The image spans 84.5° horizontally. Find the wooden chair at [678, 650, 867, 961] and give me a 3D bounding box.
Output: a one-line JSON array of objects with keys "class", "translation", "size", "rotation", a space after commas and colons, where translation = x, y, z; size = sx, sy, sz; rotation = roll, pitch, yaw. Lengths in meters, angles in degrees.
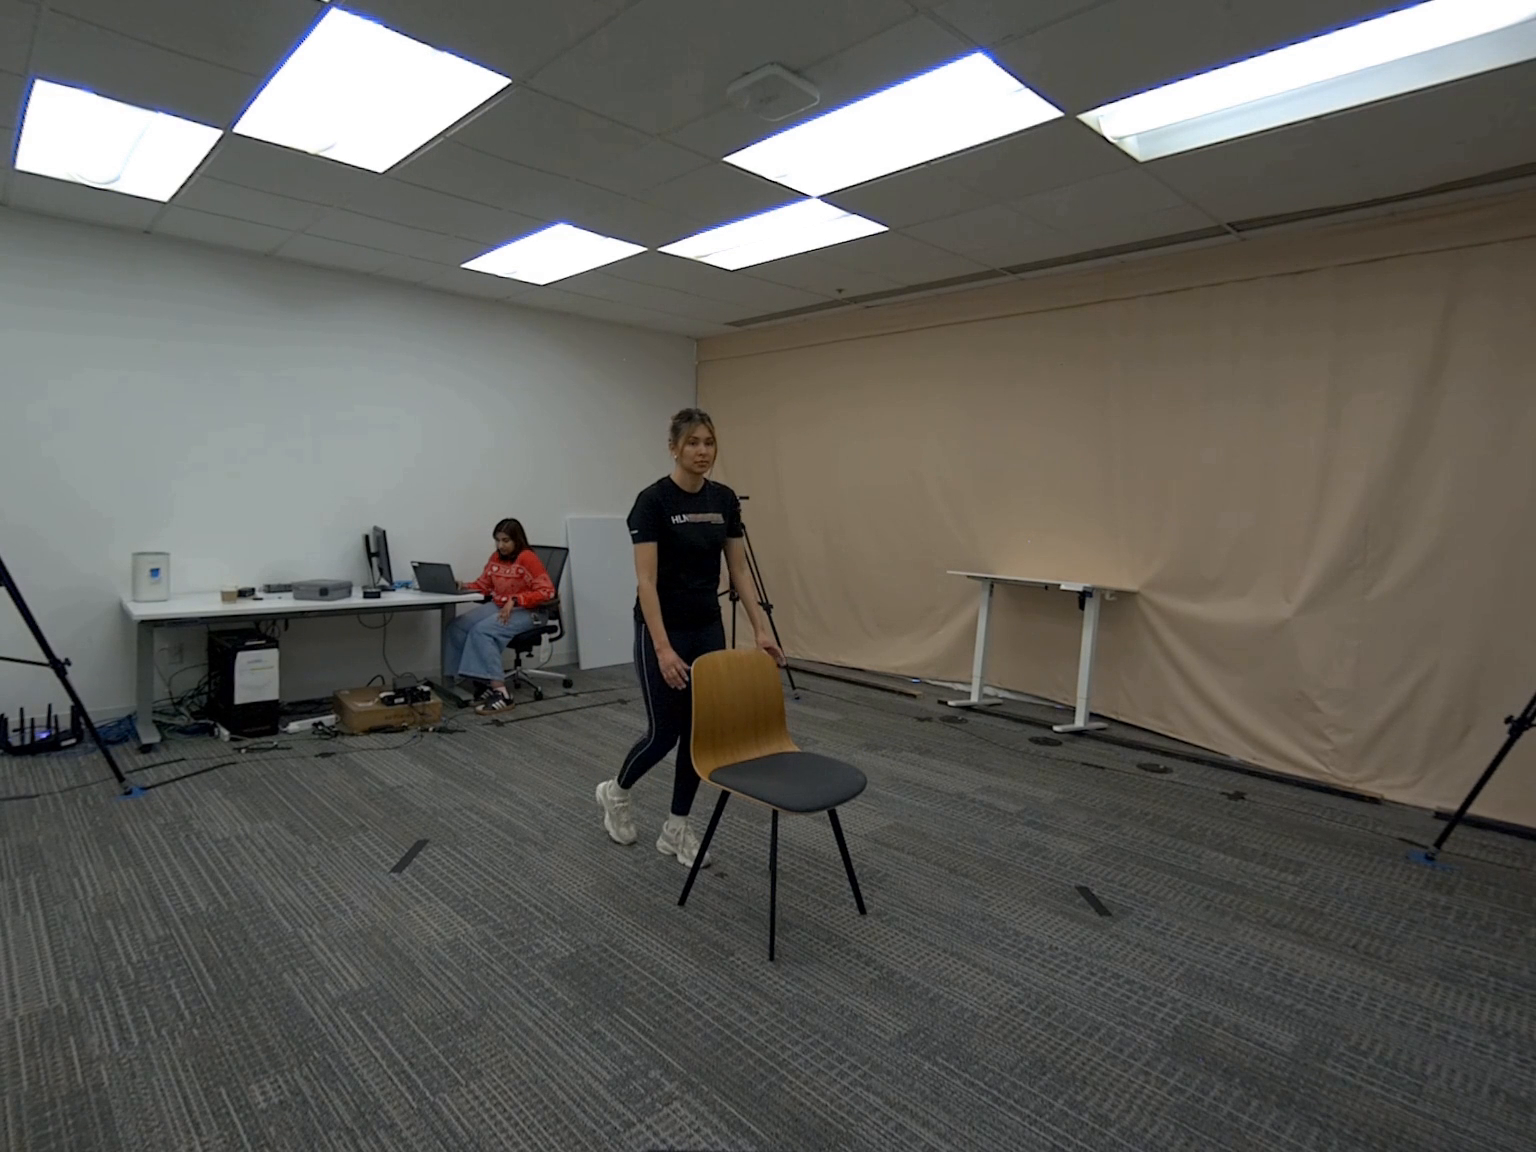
[{"class": "wooden chair", "translation": [0.026, 0.707, 2.808], "size": [0.467, 0.877, 0.535], "rotation": [-2, 0, -43]}]
